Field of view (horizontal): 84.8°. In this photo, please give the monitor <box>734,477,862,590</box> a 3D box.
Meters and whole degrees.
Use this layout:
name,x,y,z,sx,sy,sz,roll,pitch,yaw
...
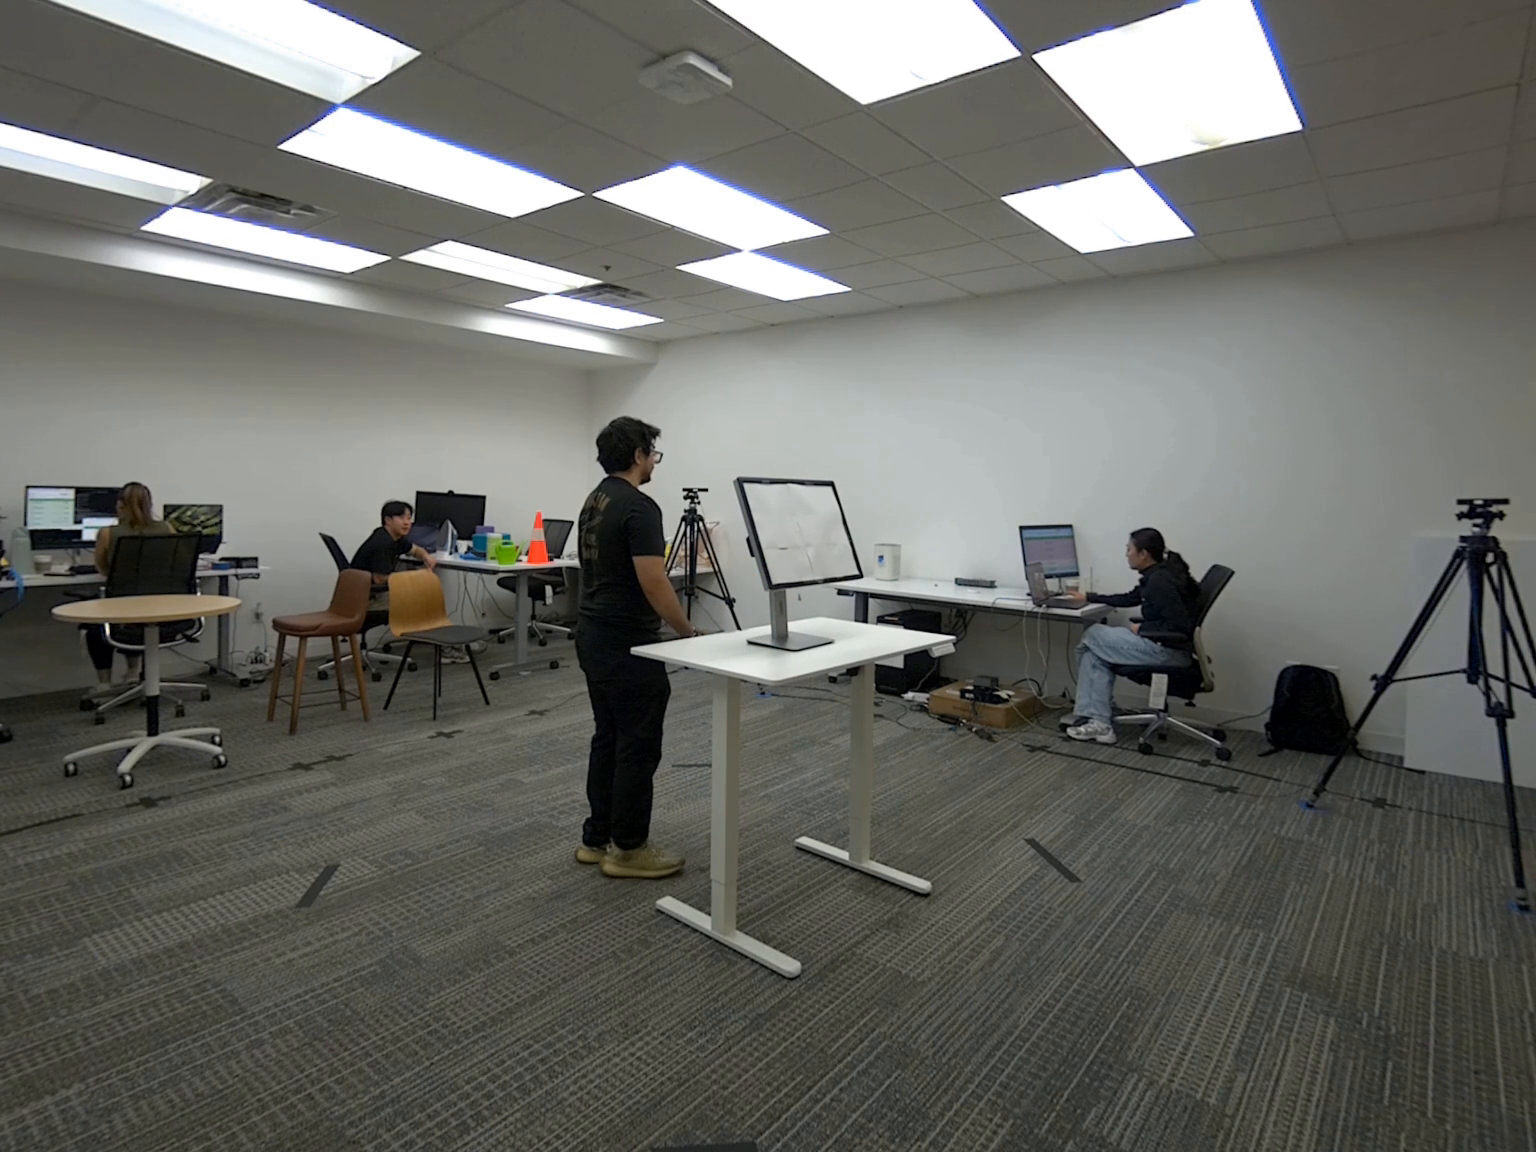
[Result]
name,x,y,z,sx,sy,sz,roll,pitch,yaw
monitor,0.055,-0.049,2.831,0.215,0.556,0.549,-10,-3,37
